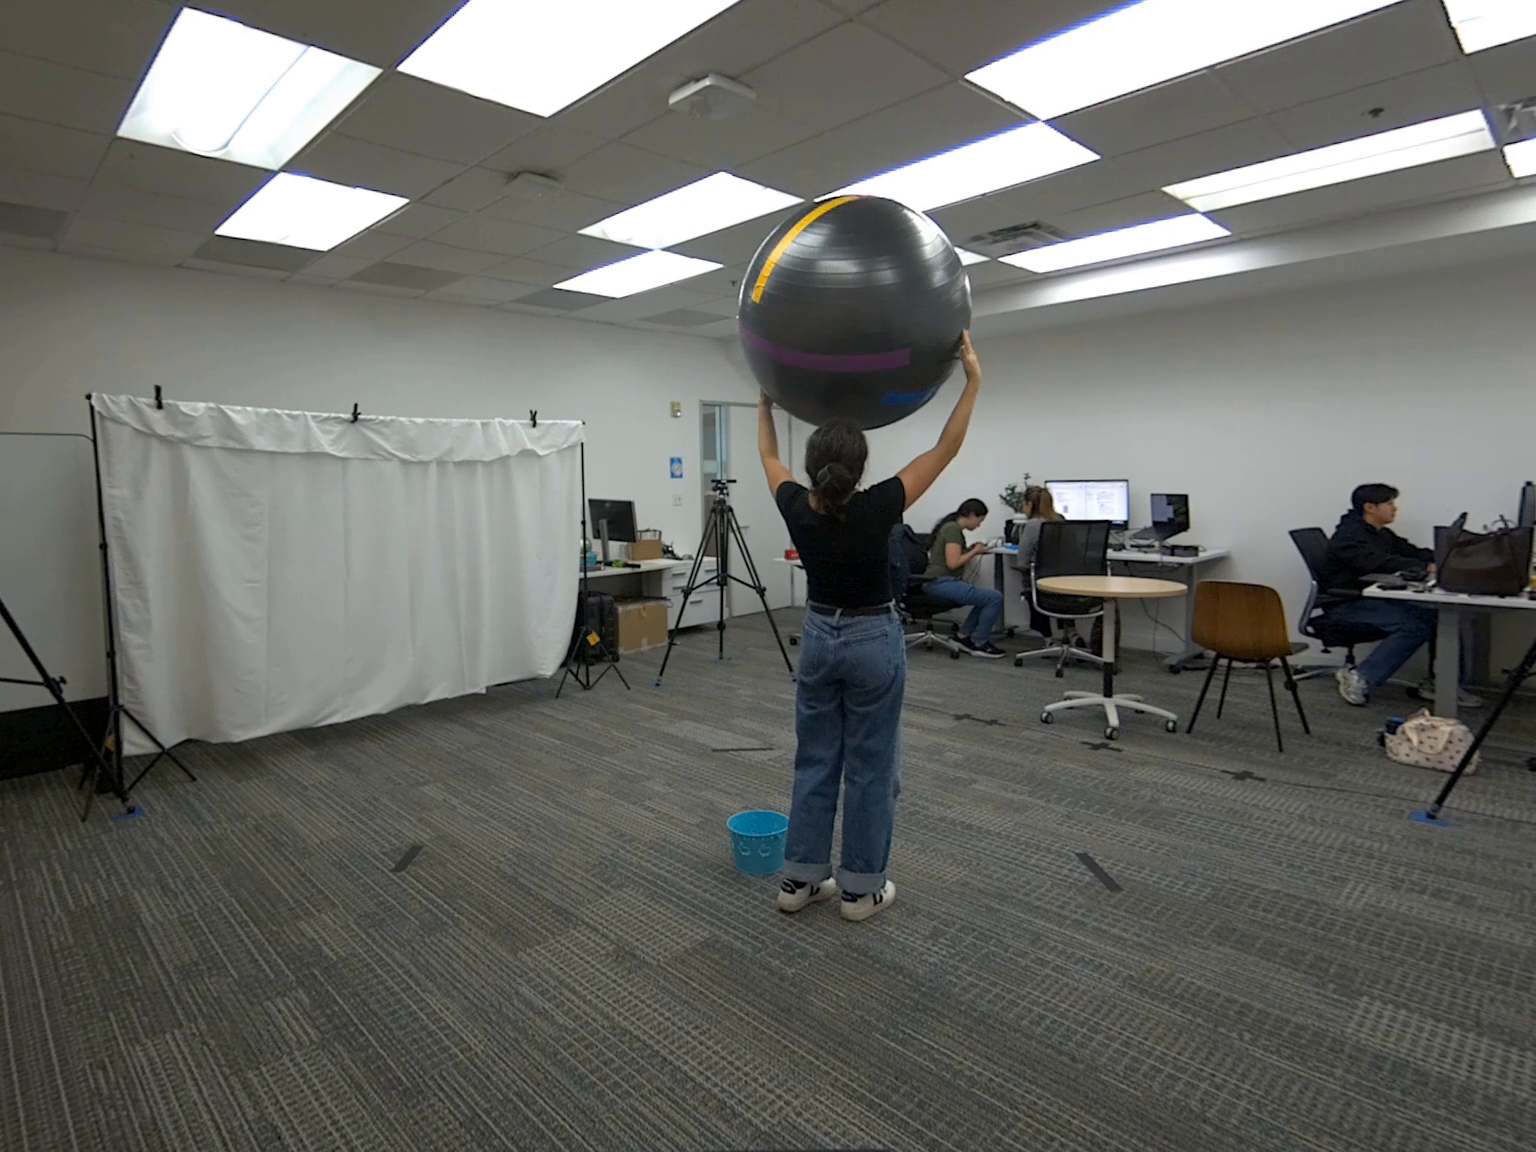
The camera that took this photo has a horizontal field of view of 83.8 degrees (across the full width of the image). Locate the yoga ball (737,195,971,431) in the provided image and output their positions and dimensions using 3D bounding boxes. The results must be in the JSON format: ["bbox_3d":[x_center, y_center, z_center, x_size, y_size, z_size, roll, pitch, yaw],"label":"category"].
[{"bbox_3d":[0.290,-0.856,2.829,0.757,0.755,0.762,-1,5,-2],"label":"yoga ball"}]
